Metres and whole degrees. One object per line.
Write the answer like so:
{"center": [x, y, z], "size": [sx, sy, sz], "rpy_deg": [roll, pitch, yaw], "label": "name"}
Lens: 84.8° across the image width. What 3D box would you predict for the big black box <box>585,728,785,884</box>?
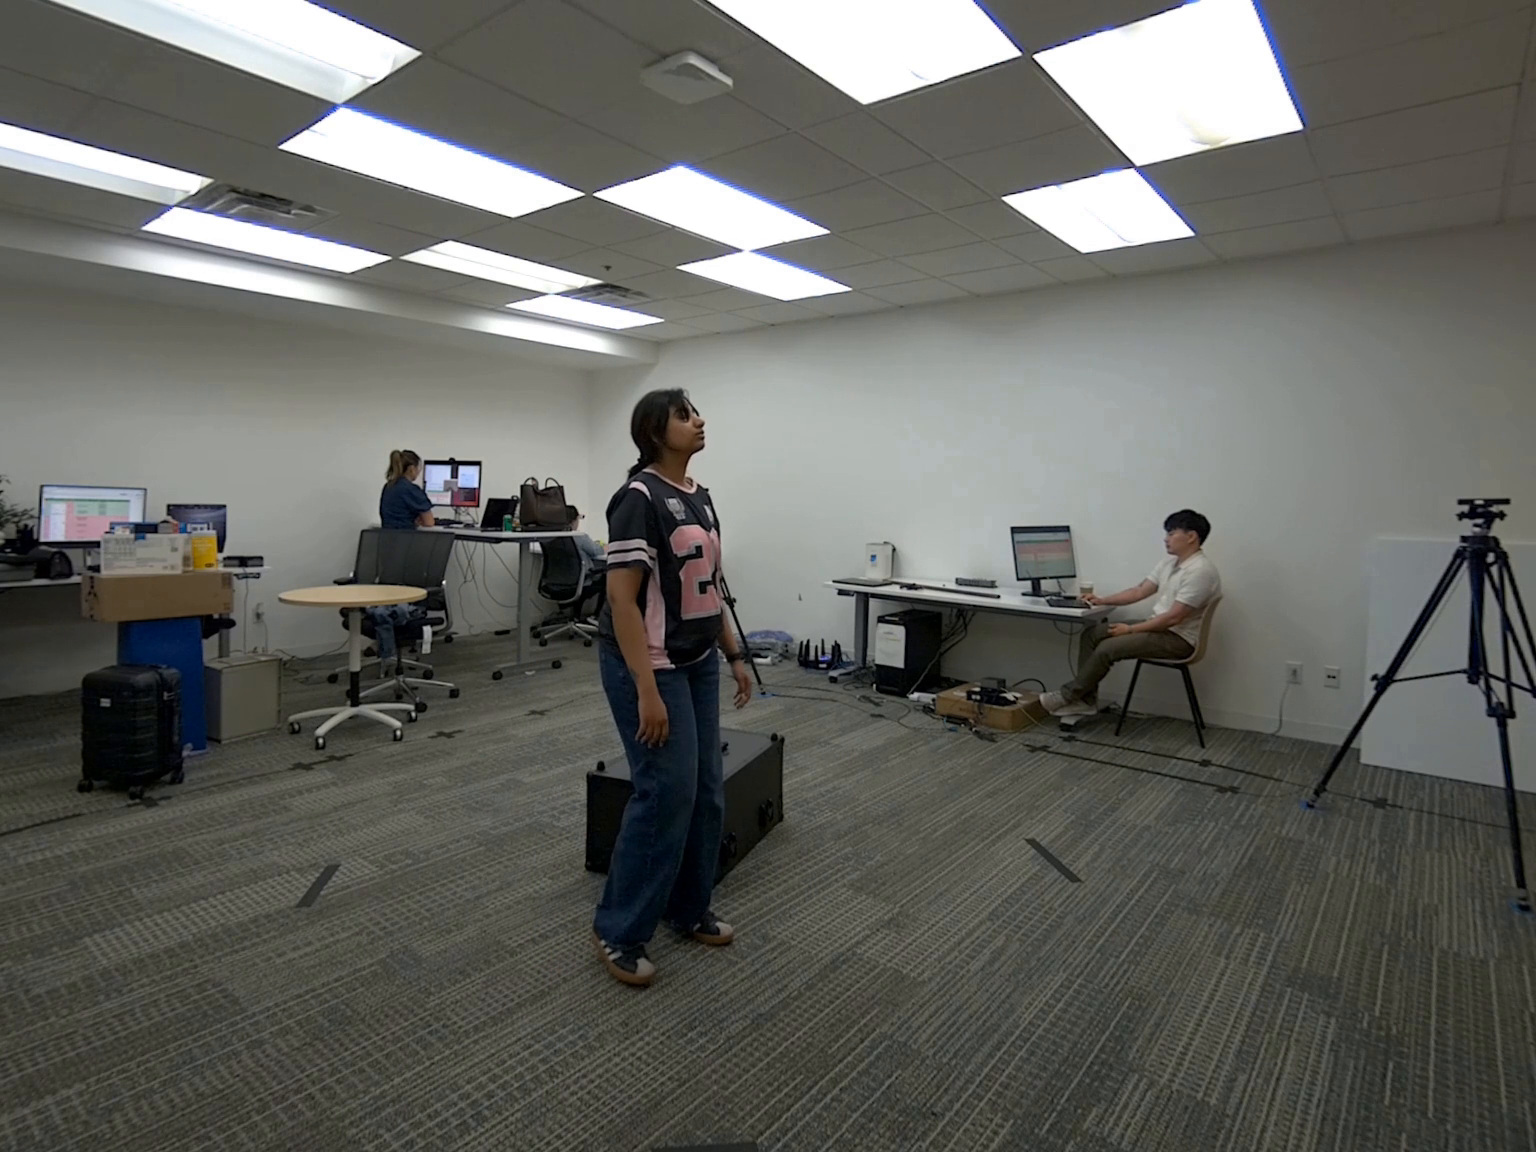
{"center": [-0.299, 0.856, 3.358], "size": [0.535, 0.384, 0.851], "rpy_deg": [1, 5, 21], "label": "big black box"}
